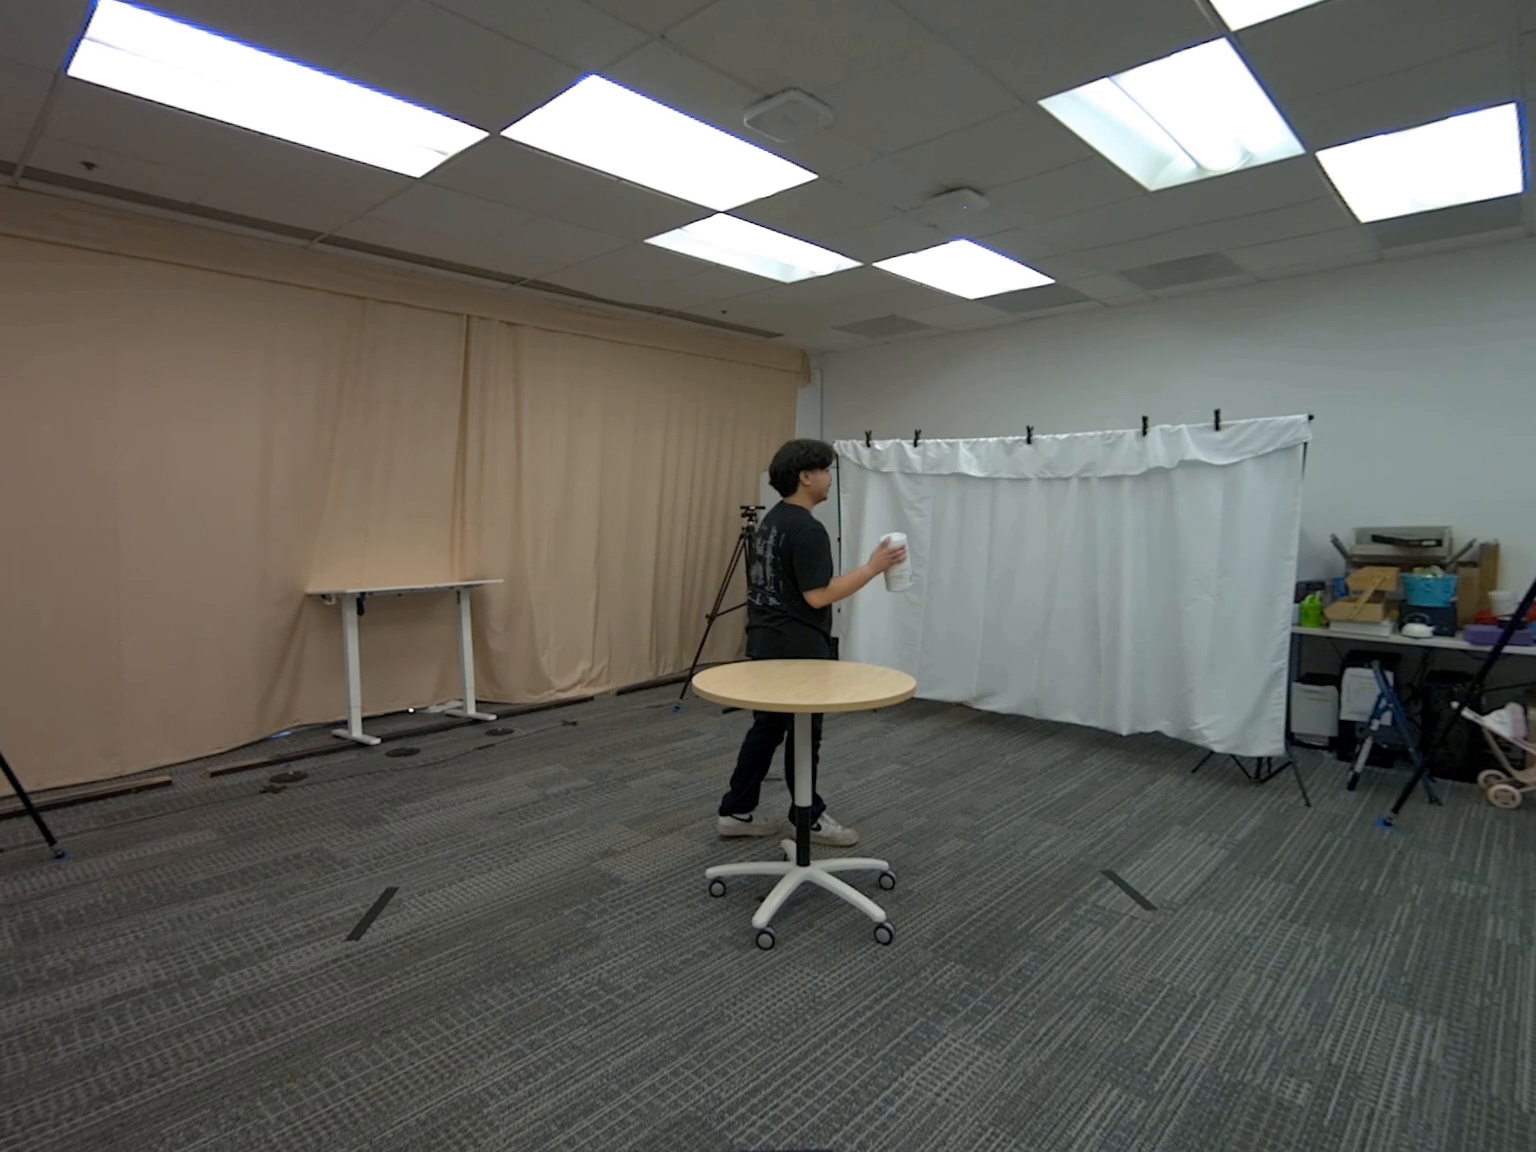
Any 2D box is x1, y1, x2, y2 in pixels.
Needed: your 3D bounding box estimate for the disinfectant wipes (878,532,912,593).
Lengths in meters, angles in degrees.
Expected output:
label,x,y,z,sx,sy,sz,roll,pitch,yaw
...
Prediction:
label,x,y,z,sx,sy,sz,roll,pitch,yaw
disinfectant wipes,0.509,-0.052,3.310,0.118,0.215,0.119,-11,14,1
